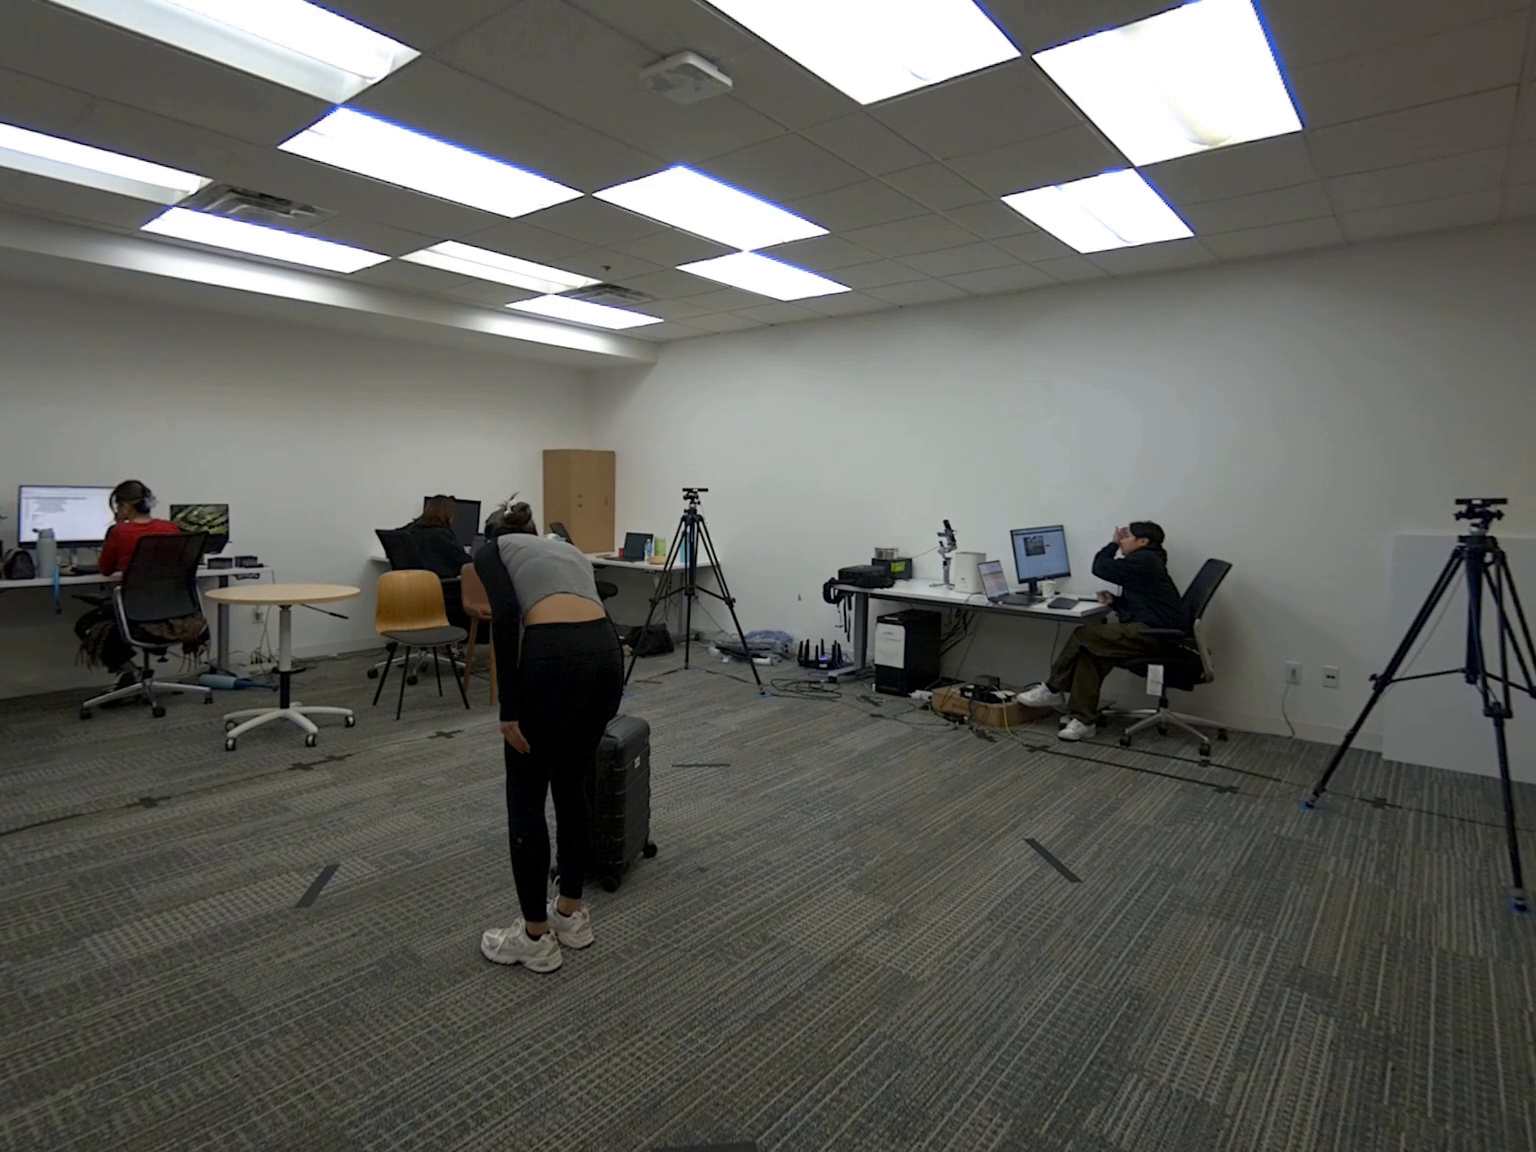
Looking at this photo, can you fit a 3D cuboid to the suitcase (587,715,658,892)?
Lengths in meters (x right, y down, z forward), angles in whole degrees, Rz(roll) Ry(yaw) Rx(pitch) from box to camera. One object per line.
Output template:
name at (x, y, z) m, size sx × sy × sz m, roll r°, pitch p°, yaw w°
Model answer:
suitcase at (-0.597, 0.792, 3.084) m, size 0.252 × 0.548 × 0.371 m, roll 3°, pitch 3°, yaw 12°
